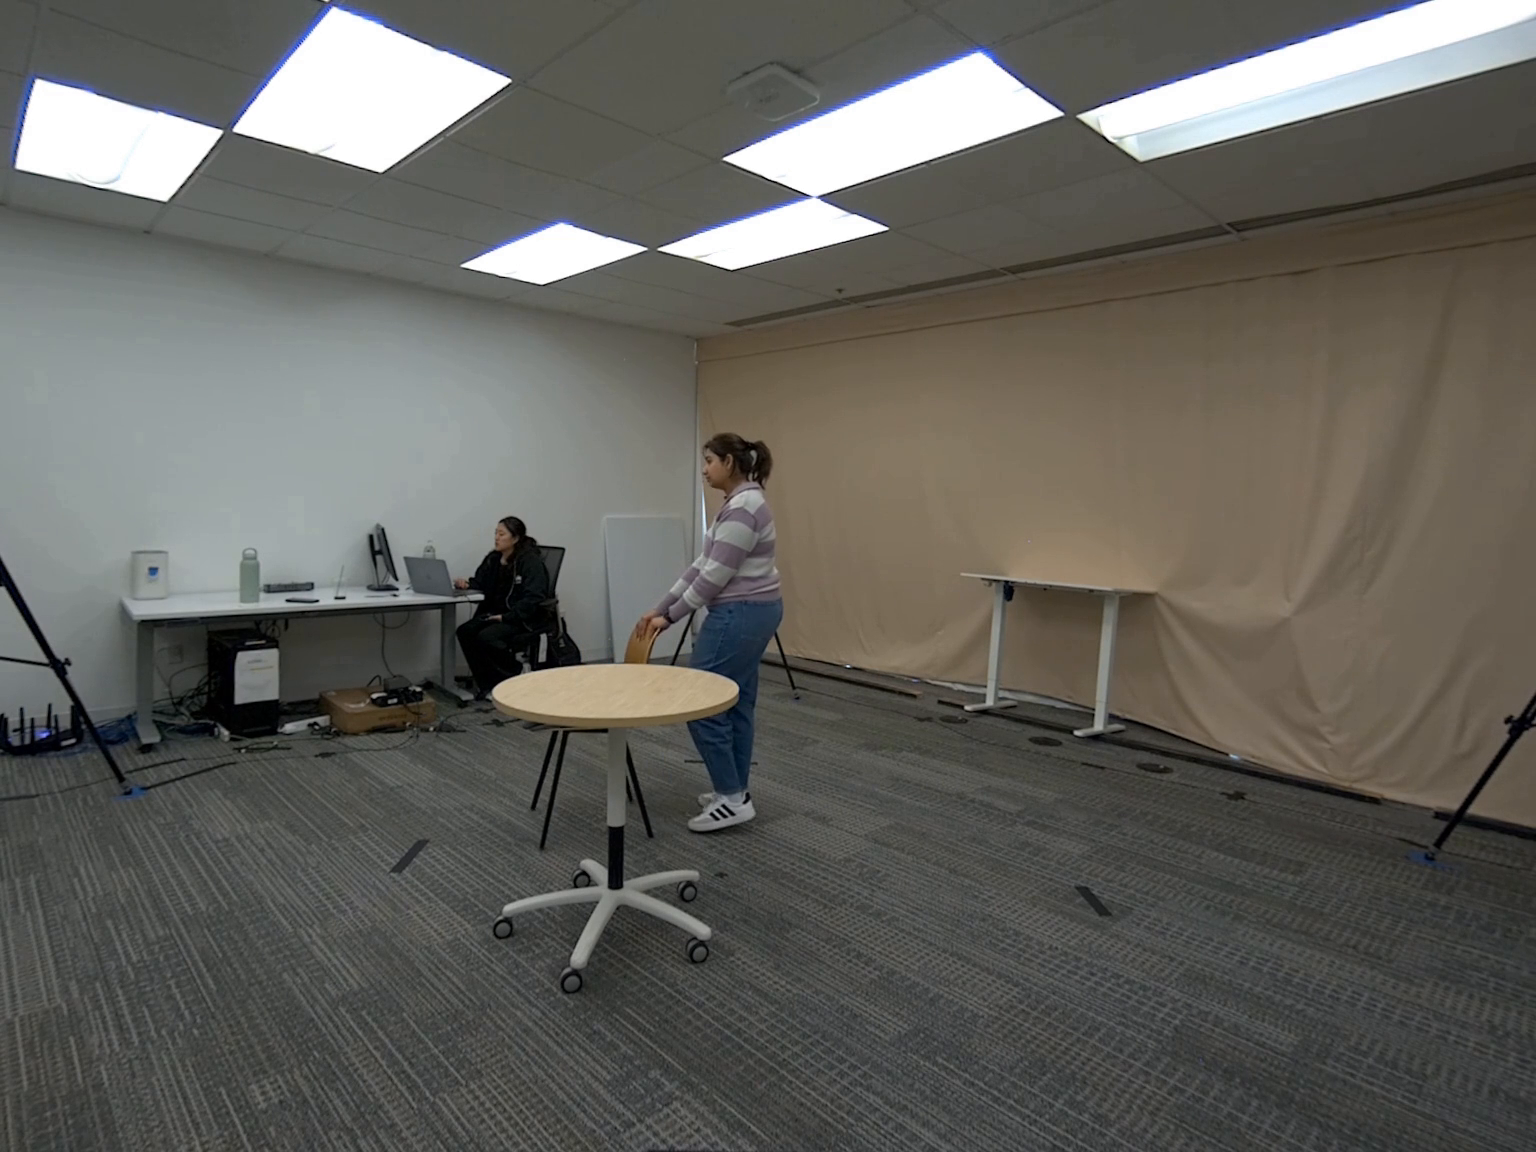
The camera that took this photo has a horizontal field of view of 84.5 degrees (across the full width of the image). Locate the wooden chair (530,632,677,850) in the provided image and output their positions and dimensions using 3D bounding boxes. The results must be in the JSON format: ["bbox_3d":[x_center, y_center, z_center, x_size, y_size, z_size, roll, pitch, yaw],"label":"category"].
[{"bbox_3d":[-0.757,0.624,3.526,0.515,0.876,0.486,5,2,-19],"label":"wooden chair"}]
